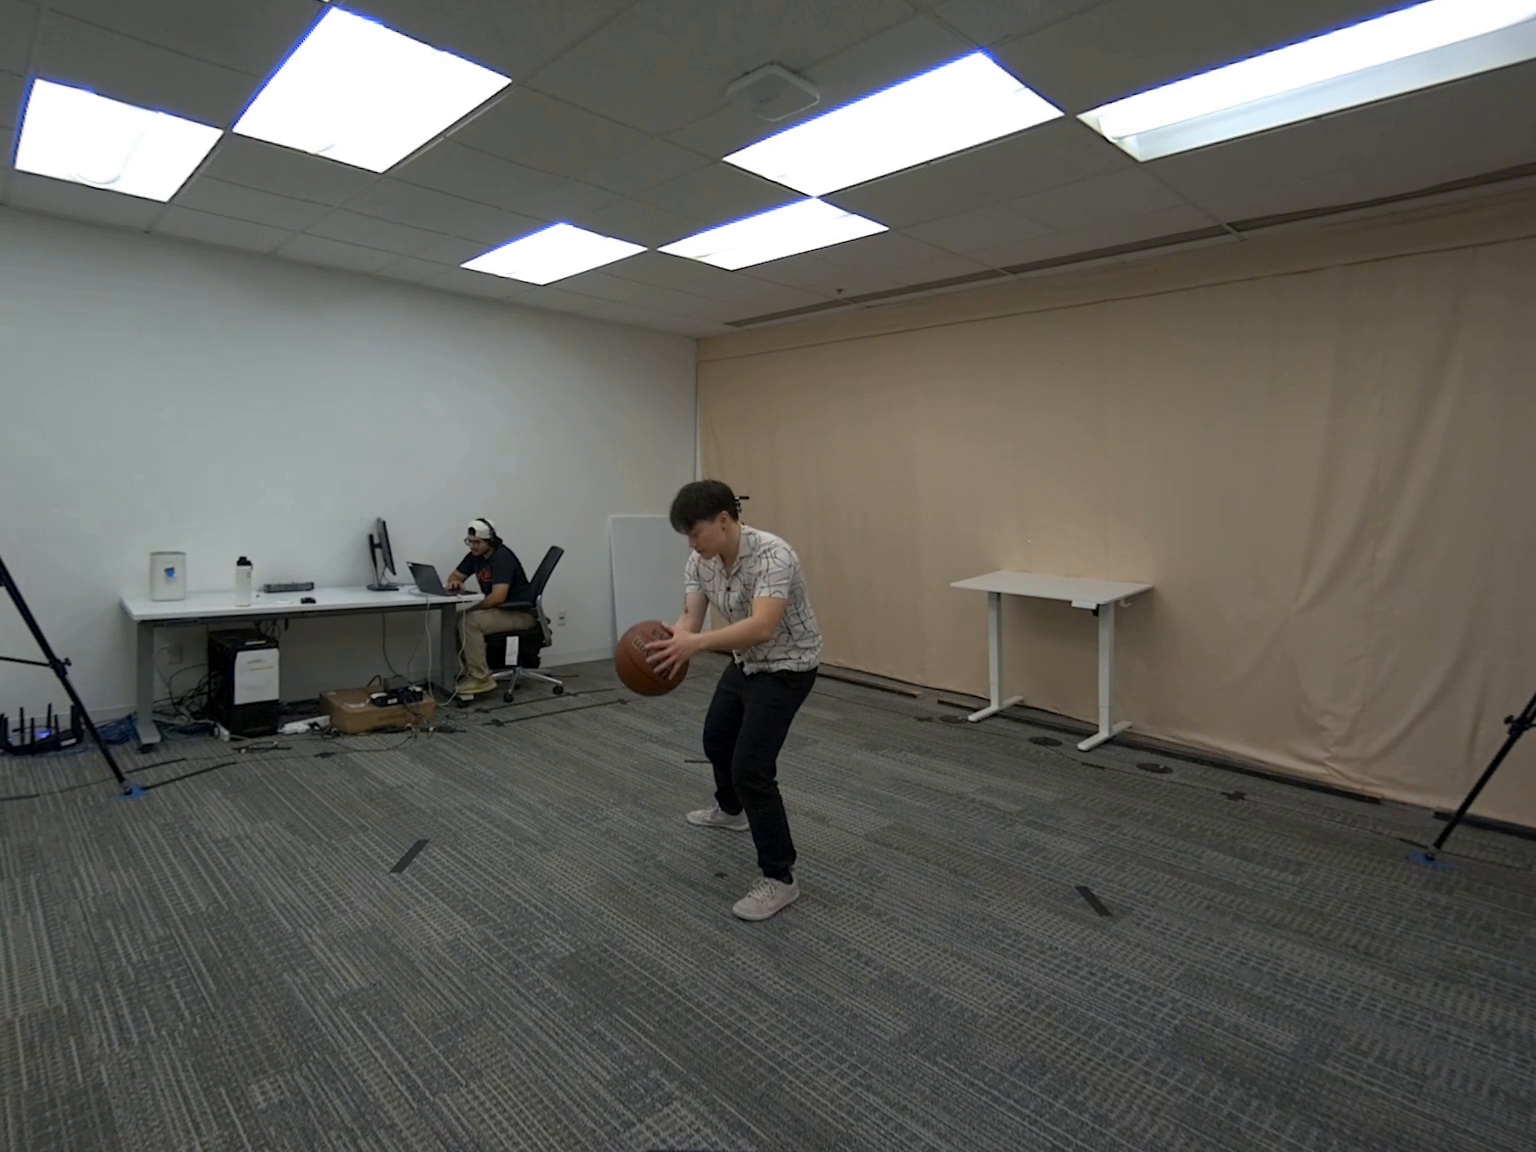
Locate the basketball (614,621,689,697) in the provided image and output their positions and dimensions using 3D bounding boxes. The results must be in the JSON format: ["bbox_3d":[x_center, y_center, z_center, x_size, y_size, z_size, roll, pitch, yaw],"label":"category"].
[{"bbox_3d":[-0.375,0.255,2.684,0.236,0.235,0.237,1,4,-1],"label":"basketball"}]
